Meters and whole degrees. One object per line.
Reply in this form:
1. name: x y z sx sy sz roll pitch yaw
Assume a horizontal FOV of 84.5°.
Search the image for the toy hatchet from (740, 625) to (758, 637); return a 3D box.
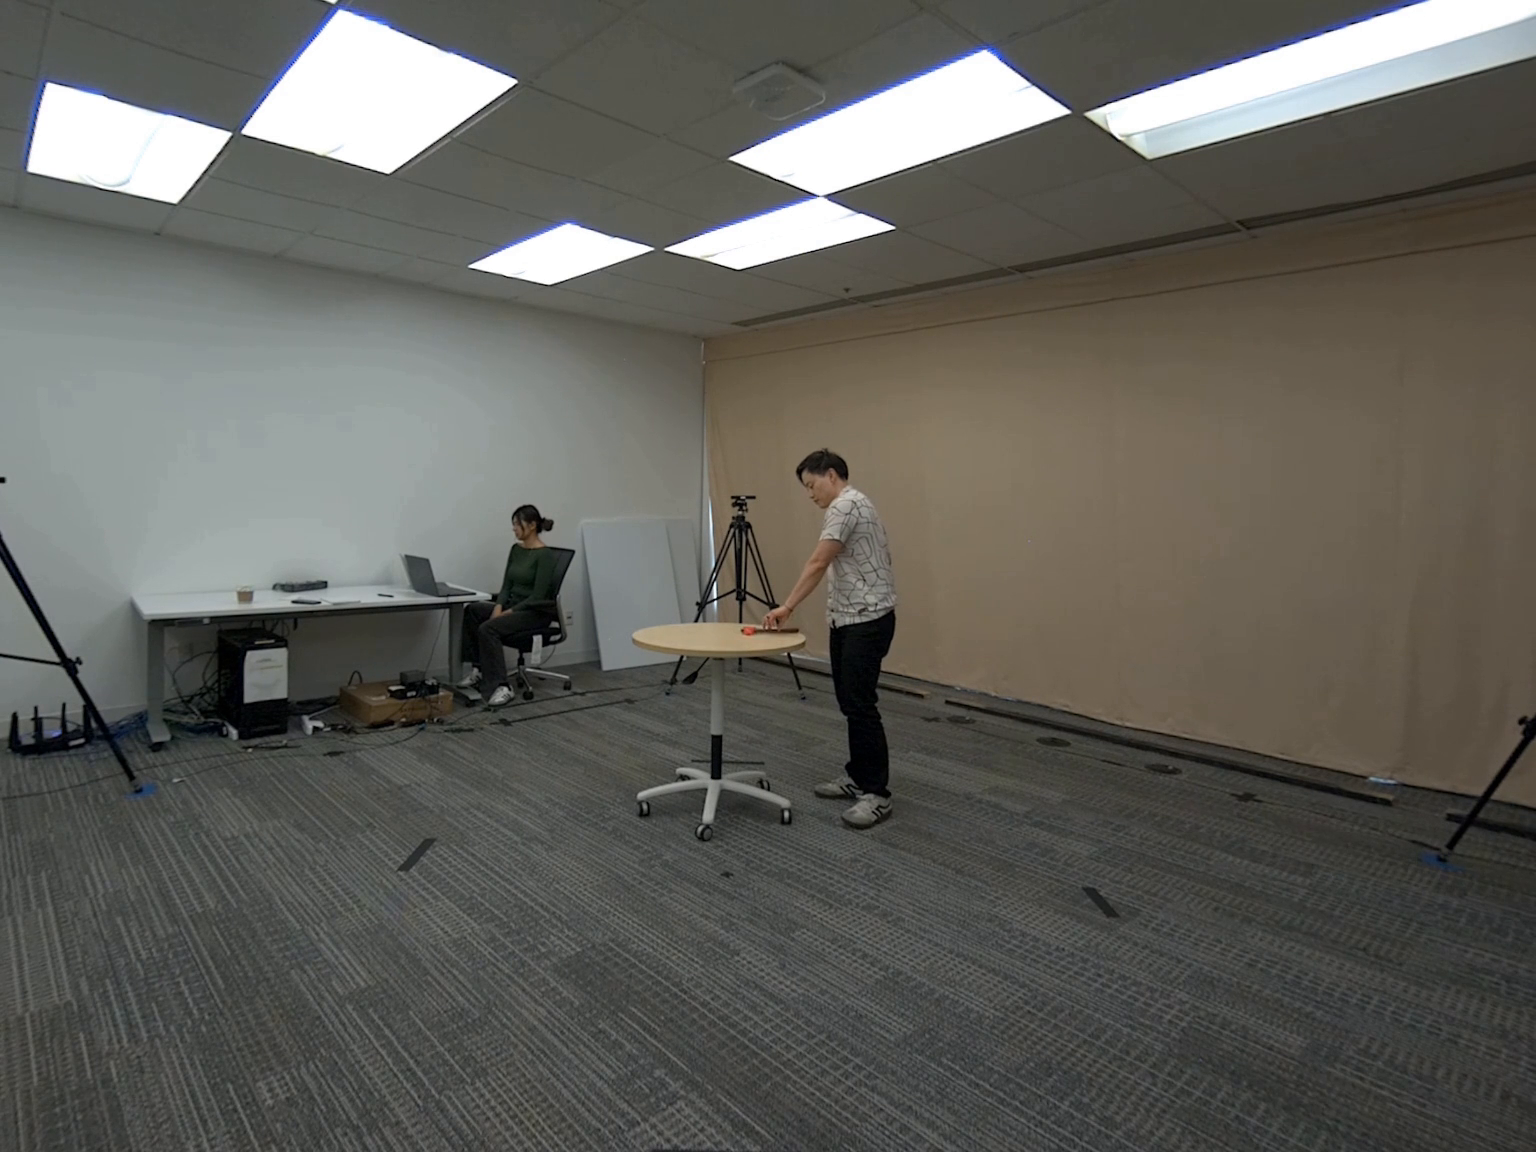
1. toy hatchet: -0.018 0.243 3.826 0.265 0.029 0.134 -2 5 -30
